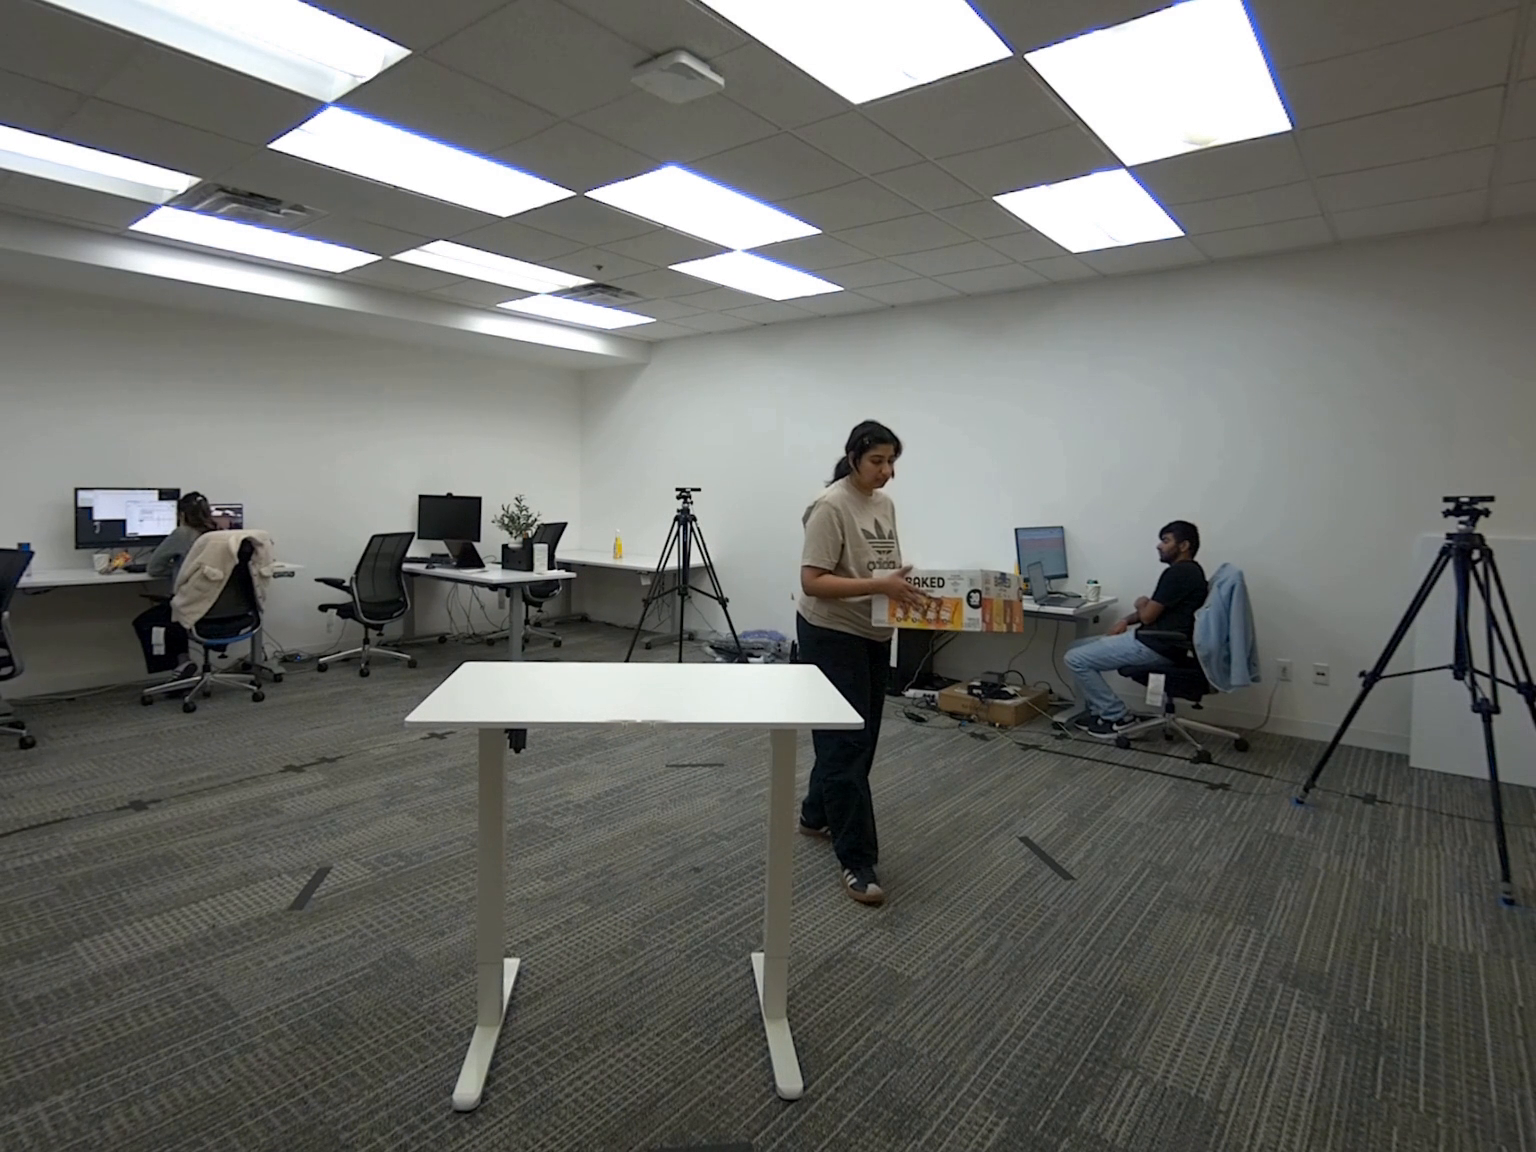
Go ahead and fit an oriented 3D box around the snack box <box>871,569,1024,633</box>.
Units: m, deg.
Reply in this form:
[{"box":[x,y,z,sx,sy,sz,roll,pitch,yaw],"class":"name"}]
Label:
[{"box":[0.625,0.083,2.992,0.418,0.206,0.328,0,-4,39],"class":"snack box"}]
